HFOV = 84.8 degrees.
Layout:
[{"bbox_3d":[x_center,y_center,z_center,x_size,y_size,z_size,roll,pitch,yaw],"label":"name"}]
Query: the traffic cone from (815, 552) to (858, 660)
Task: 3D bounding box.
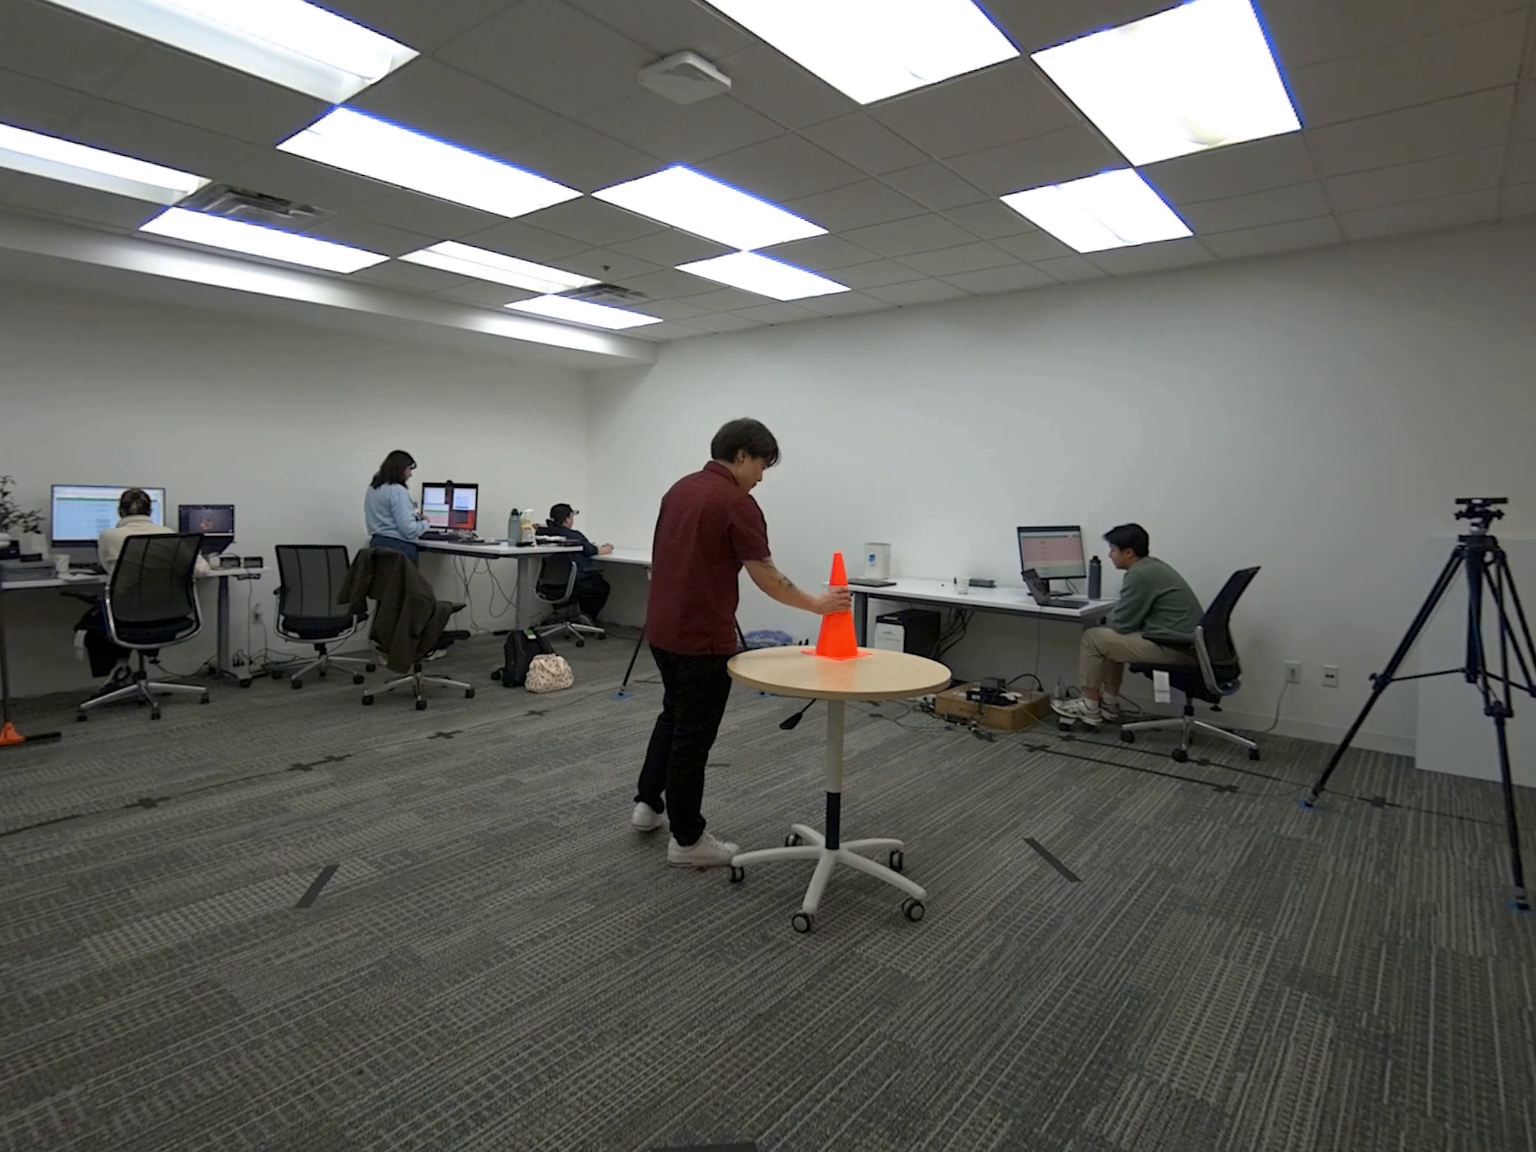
[{"bbox_3d":[0.251,0.104,3.171,0.209,0.383,0.199,1,3,33],"label":"traffic cone"}]
